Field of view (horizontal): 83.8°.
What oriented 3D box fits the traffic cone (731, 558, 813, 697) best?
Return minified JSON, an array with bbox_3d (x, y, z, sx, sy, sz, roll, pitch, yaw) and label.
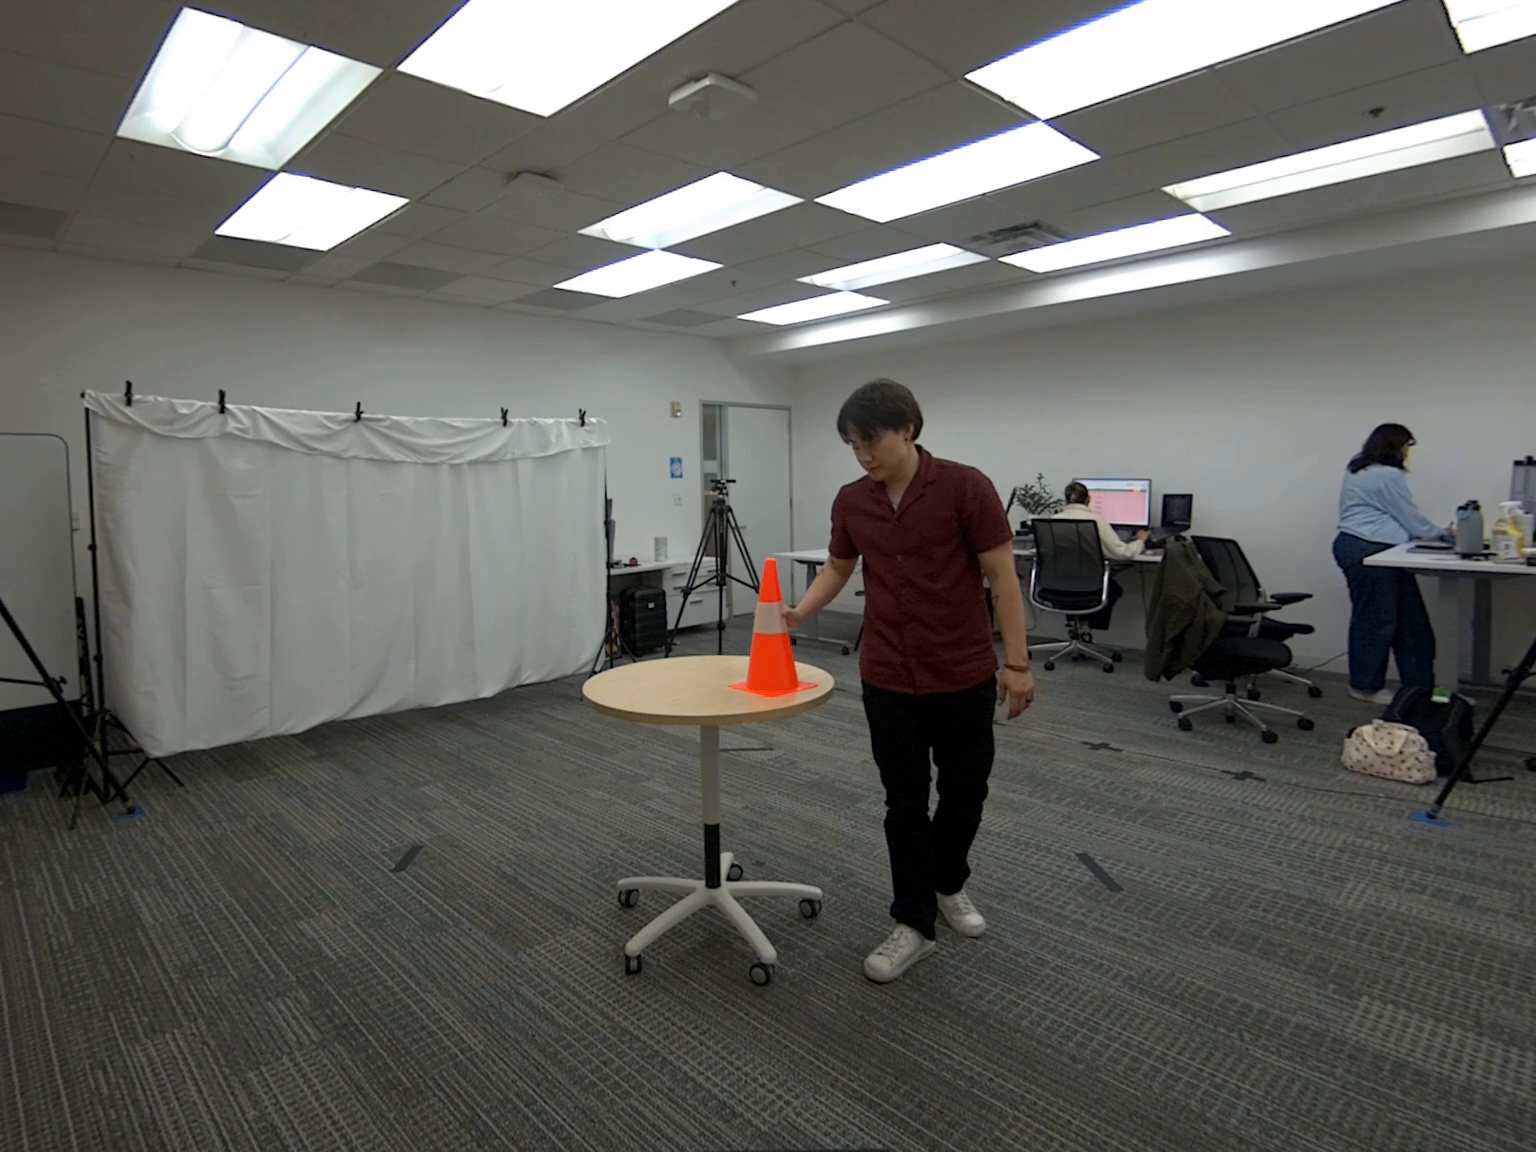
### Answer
[{"bbox_3d":[0.013,0.142,2.515,0.209,0.382,0.200,2,7,42],"label":"traffic cone"}]
